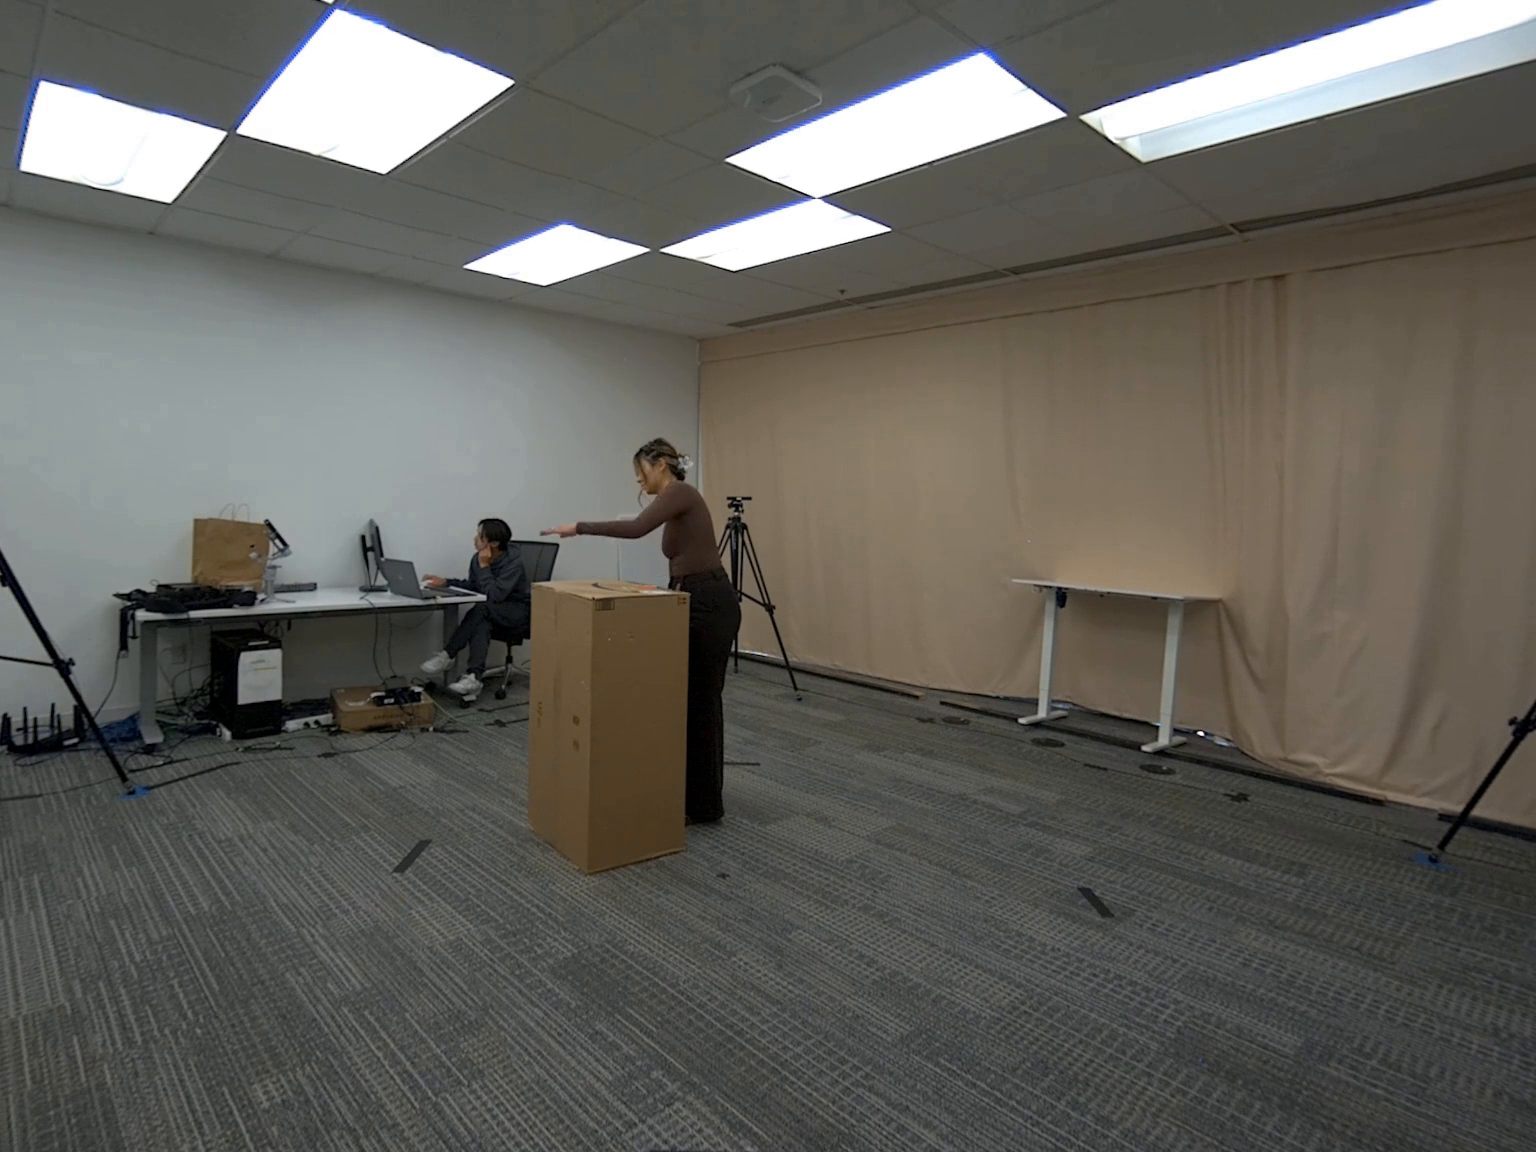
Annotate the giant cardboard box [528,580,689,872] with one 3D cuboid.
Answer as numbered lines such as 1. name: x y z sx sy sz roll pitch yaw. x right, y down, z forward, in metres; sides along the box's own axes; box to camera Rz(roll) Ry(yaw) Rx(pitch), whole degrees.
1. giant cardboard box: -0.662 0.557 3.402 0.437 1.025 0.598 0 3 -36
